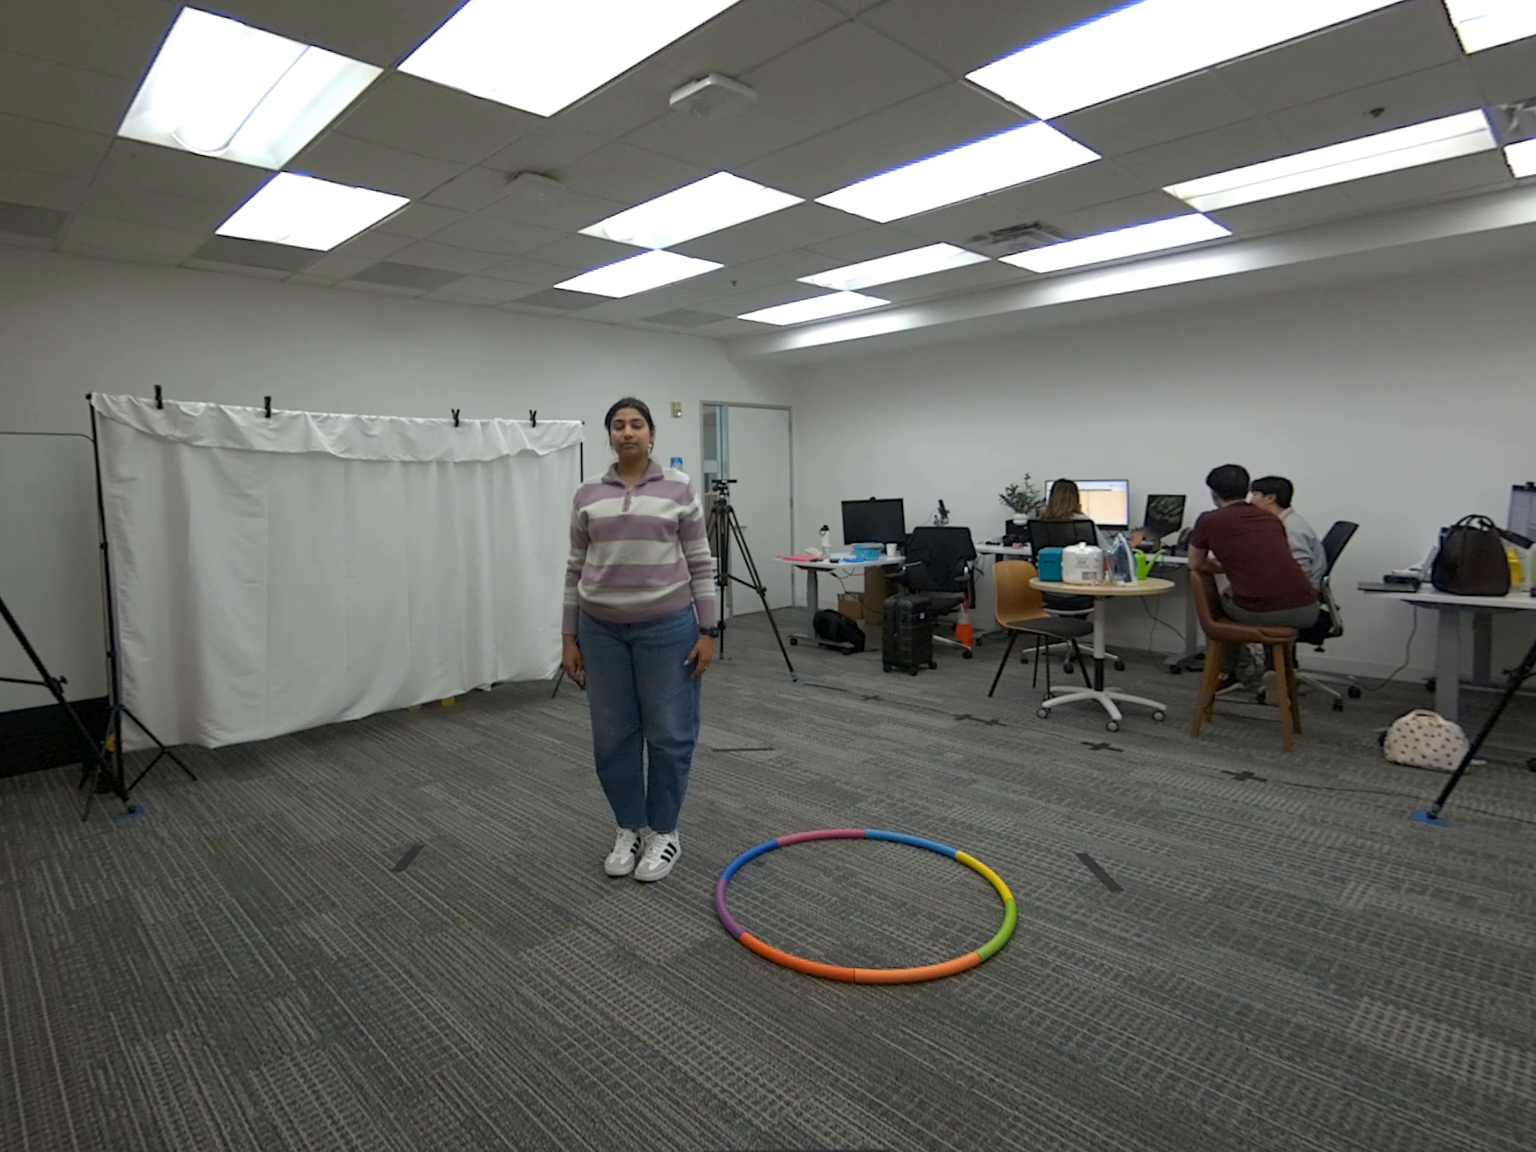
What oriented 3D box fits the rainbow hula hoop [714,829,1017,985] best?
[{"bbox_3d":[0.312,1.042,2.839,0.978,0.035,0.984,-1,7,-2],"label":"rainbow hula hoop"}]
